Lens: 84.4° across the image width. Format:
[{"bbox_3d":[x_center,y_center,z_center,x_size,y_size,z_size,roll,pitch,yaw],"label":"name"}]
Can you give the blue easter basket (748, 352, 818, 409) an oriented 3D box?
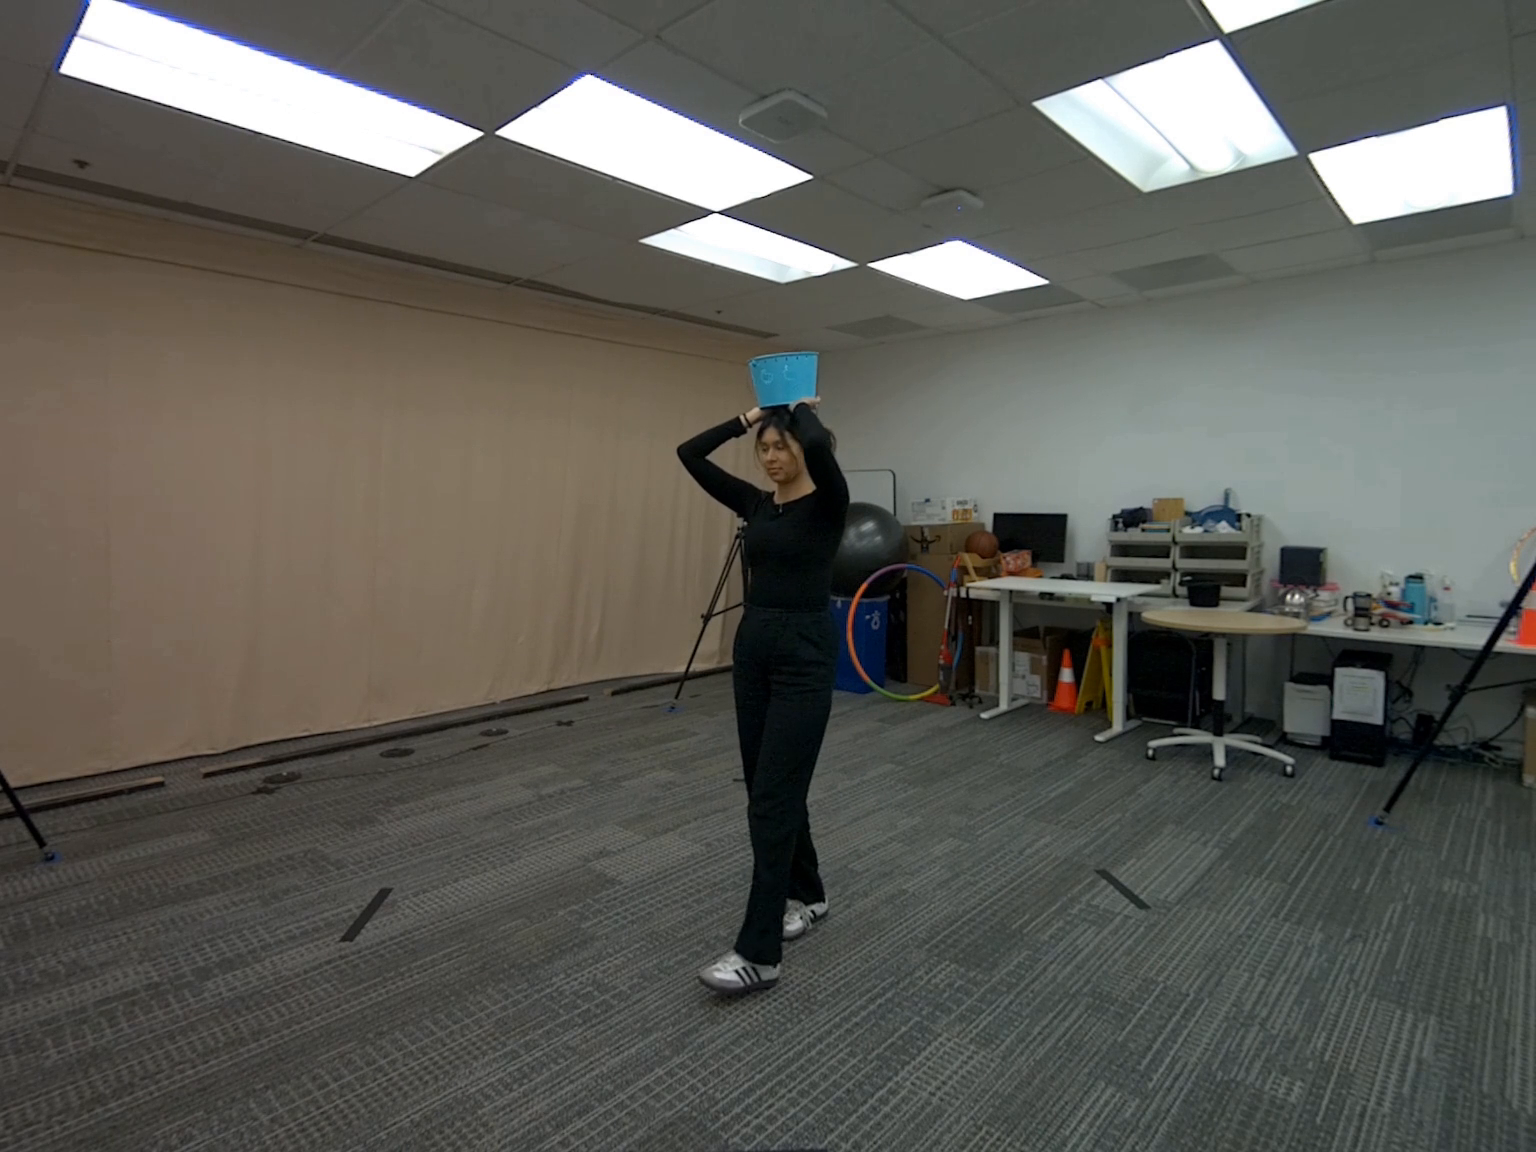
[{"bbox_3d":[0.061,-0.626,2.704,0.243,0.155,0.245,-5,7,-1],"label":"blue easter basket"}]
